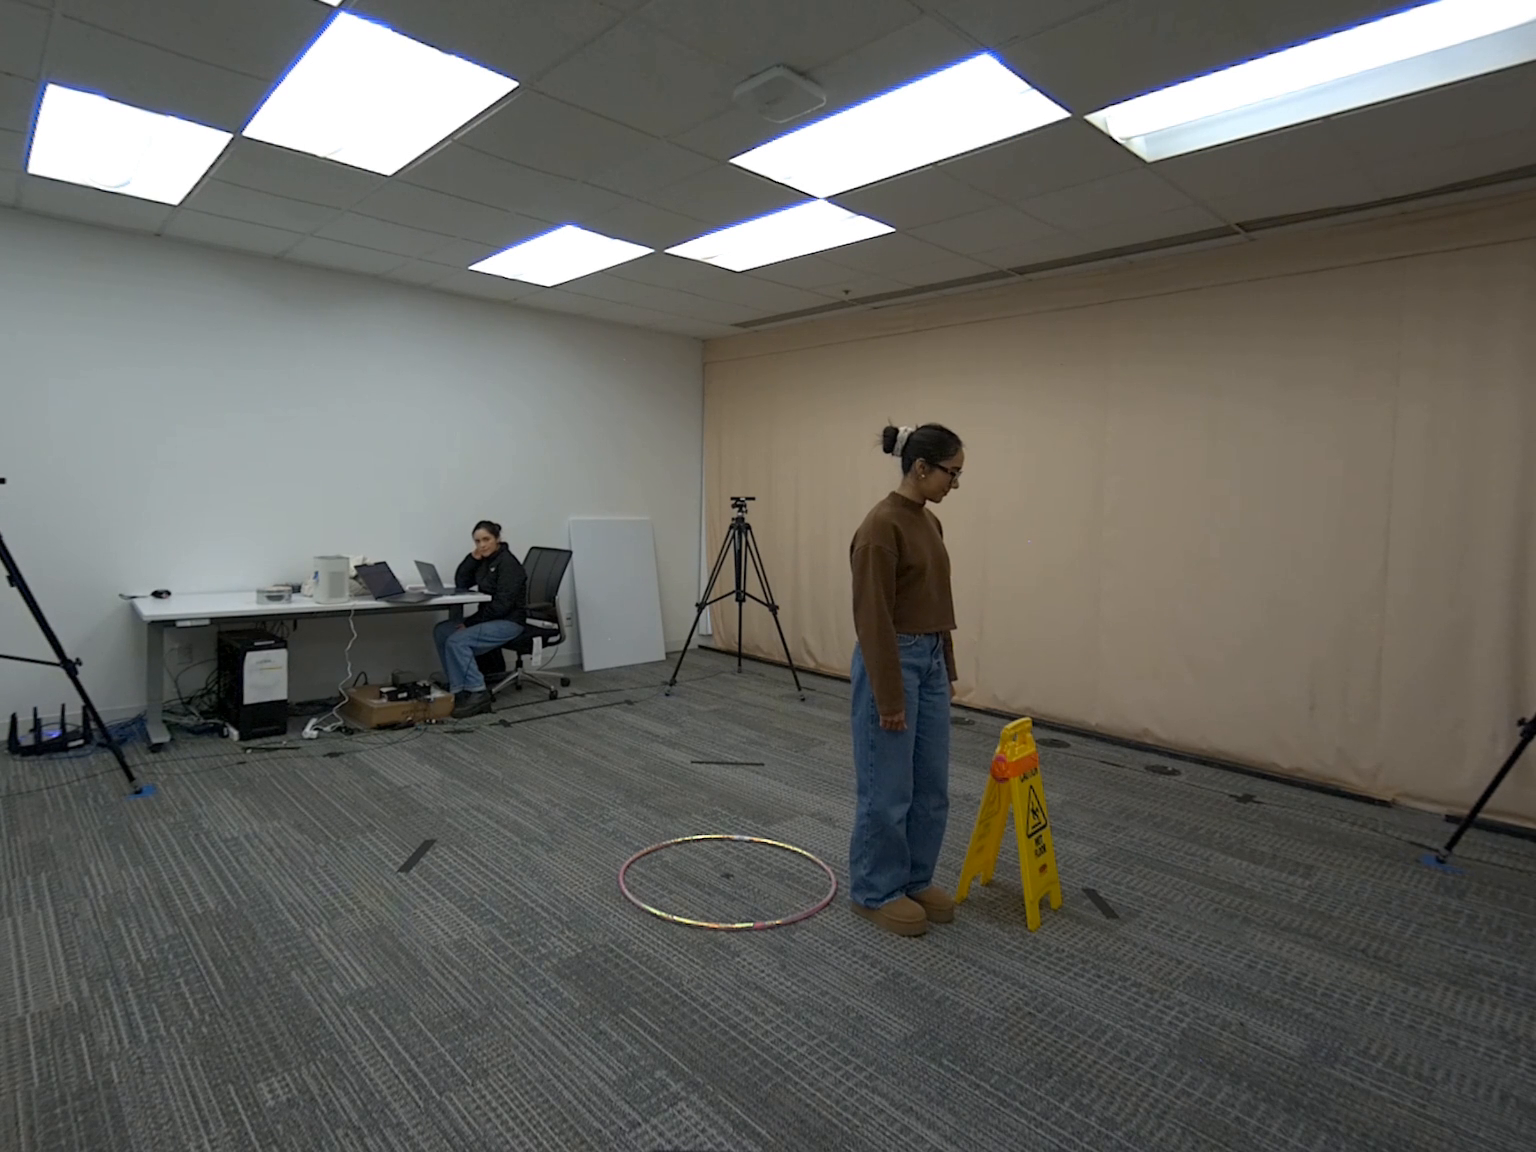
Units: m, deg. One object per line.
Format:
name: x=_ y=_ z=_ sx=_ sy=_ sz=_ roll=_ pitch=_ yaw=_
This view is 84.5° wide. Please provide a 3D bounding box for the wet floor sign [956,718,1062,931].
wet floor sign: x=0.850 y=0.826 z=2.930 sx=0.297 sy=0.644 sz=0.276 roll=4 pitch=5 yaw=40
